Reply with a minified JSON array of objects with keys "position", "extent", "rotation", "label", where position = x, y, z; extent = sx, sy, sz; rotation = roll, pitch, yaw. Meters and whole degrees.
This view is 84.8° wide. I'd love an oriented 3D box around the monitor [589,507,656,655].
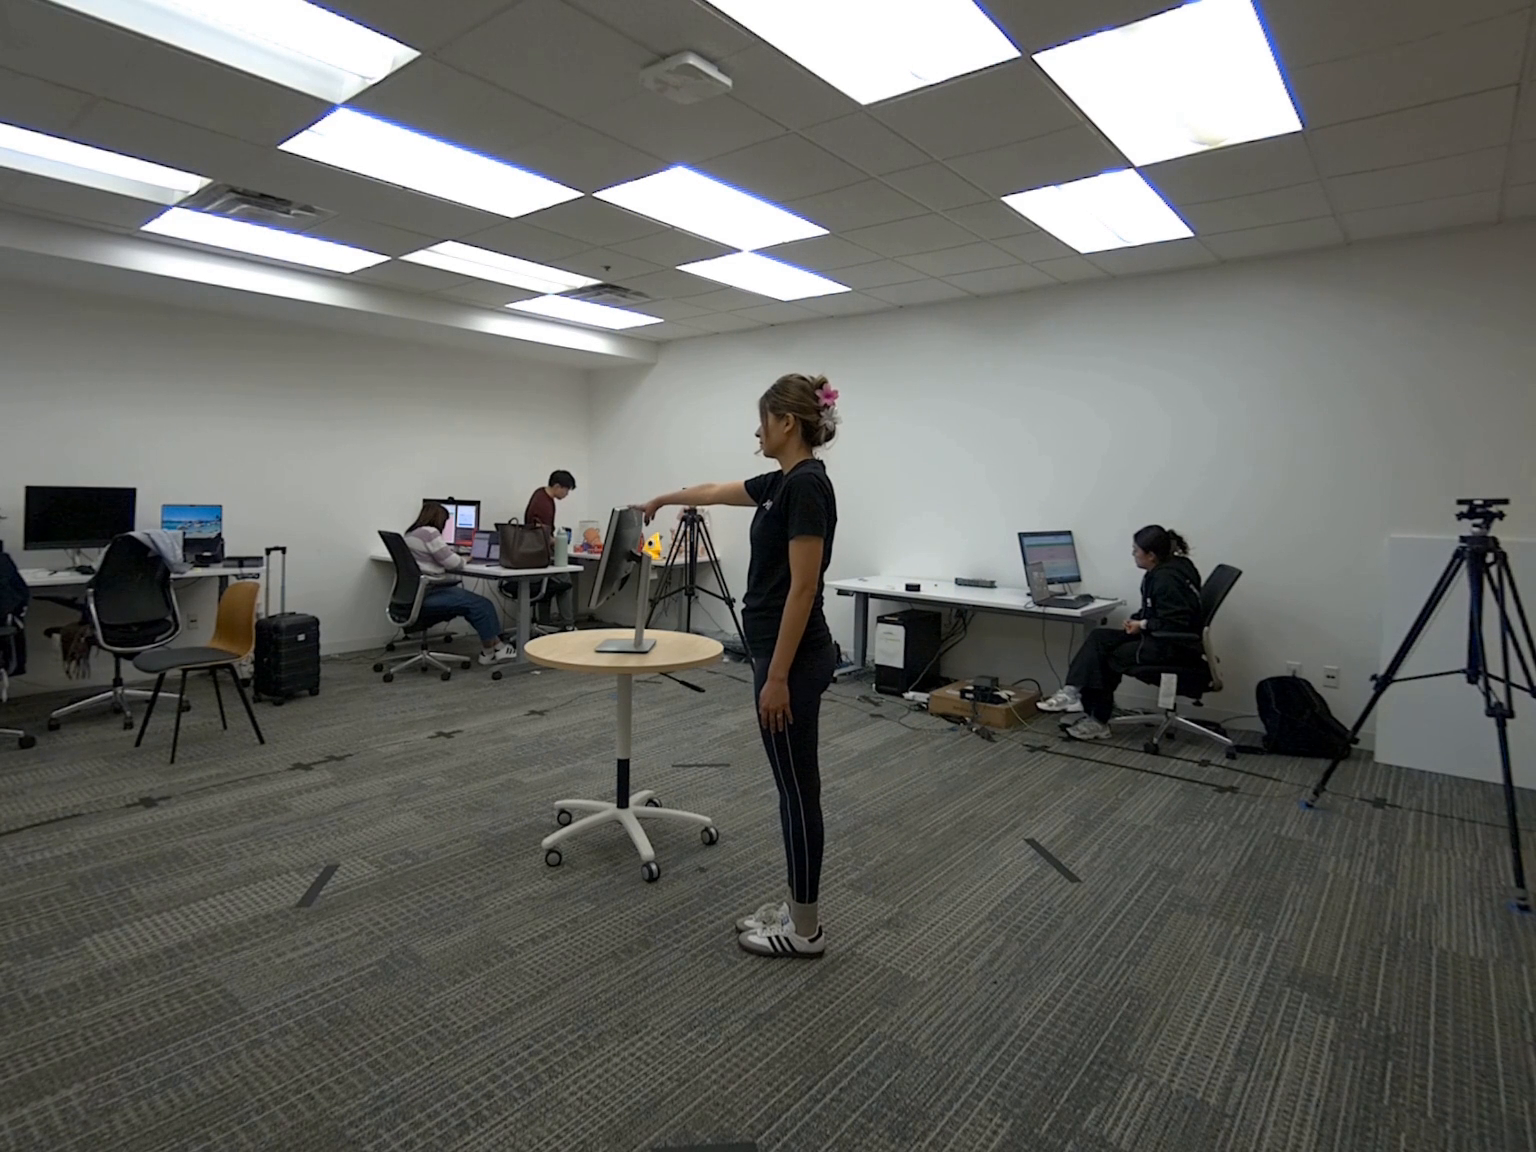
[{"position":[-0.544,0.010,3.245],"extent":[0.187,0.521,0.540],"rotation":[1,5,0],"label":"monitor"}]
